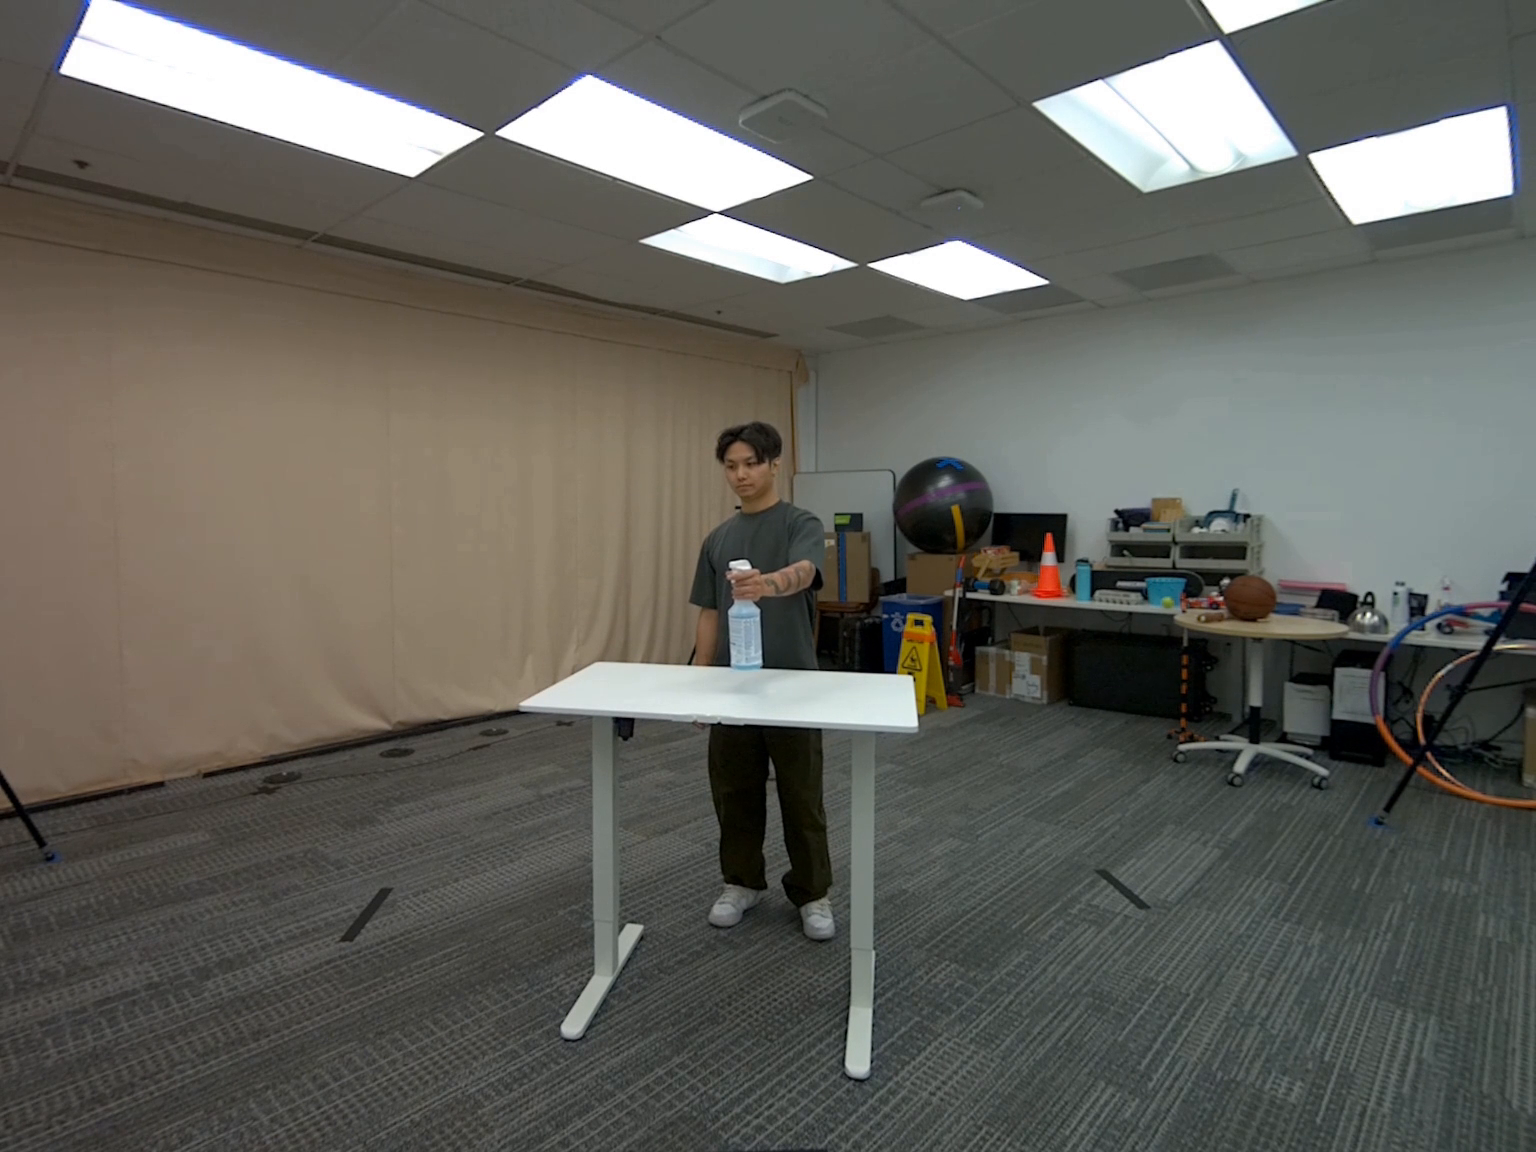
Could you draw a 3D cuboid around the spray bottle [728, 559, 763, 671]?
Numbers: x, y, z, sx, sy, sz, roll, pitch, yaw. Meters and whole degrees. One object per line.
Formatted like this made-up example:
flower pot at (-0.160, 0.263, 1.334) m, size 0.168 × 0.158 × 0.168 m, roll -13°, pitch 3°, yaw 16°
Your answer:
spray bottle at (-0.061, 0.105, 2.285) m, size 0.087 × 0.296 × 0.090 m, roll -7°, pitch 9°, yaw -33°
